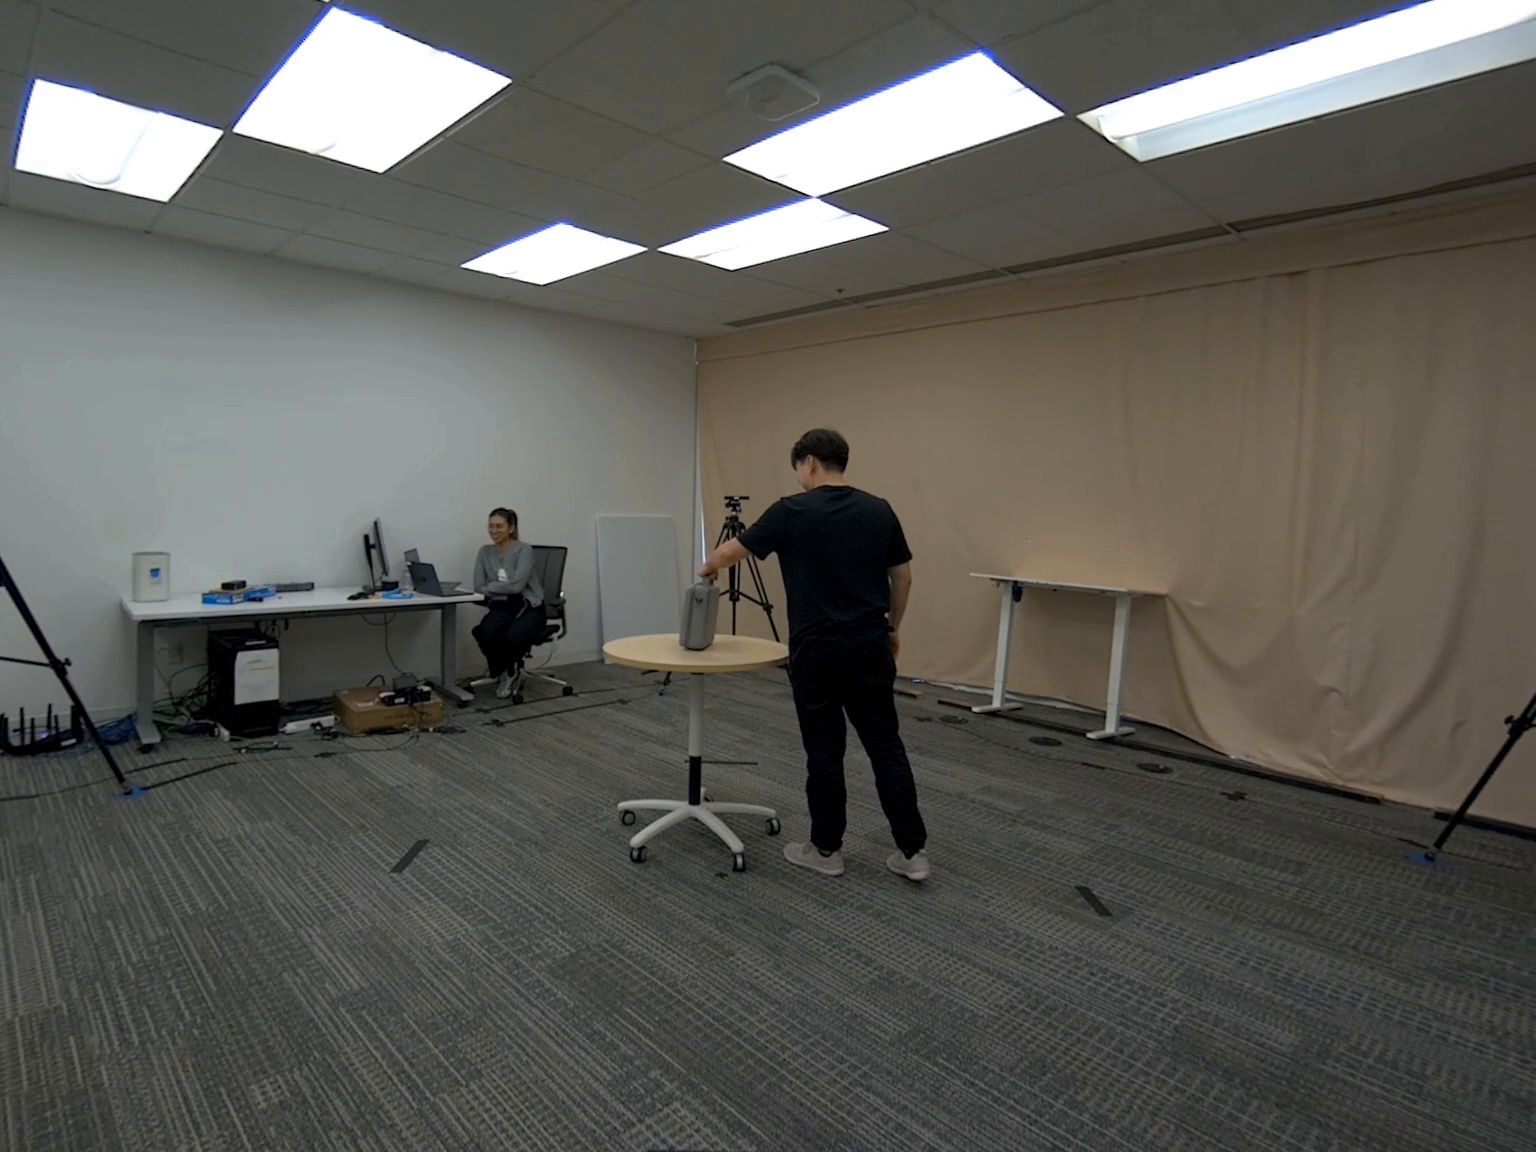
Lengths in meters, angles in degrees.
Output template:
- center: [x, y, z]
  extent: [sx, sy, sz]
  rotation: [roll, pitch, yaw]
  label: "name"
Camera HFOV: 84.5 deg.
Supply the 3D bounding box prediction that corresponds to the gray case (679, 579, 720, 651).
- center: [-0.280, 0.155, 3.435]
  extent: [0.105, 0.260, 0.256]
  rotation: [7, 4, 6]
  label: "gray case"
